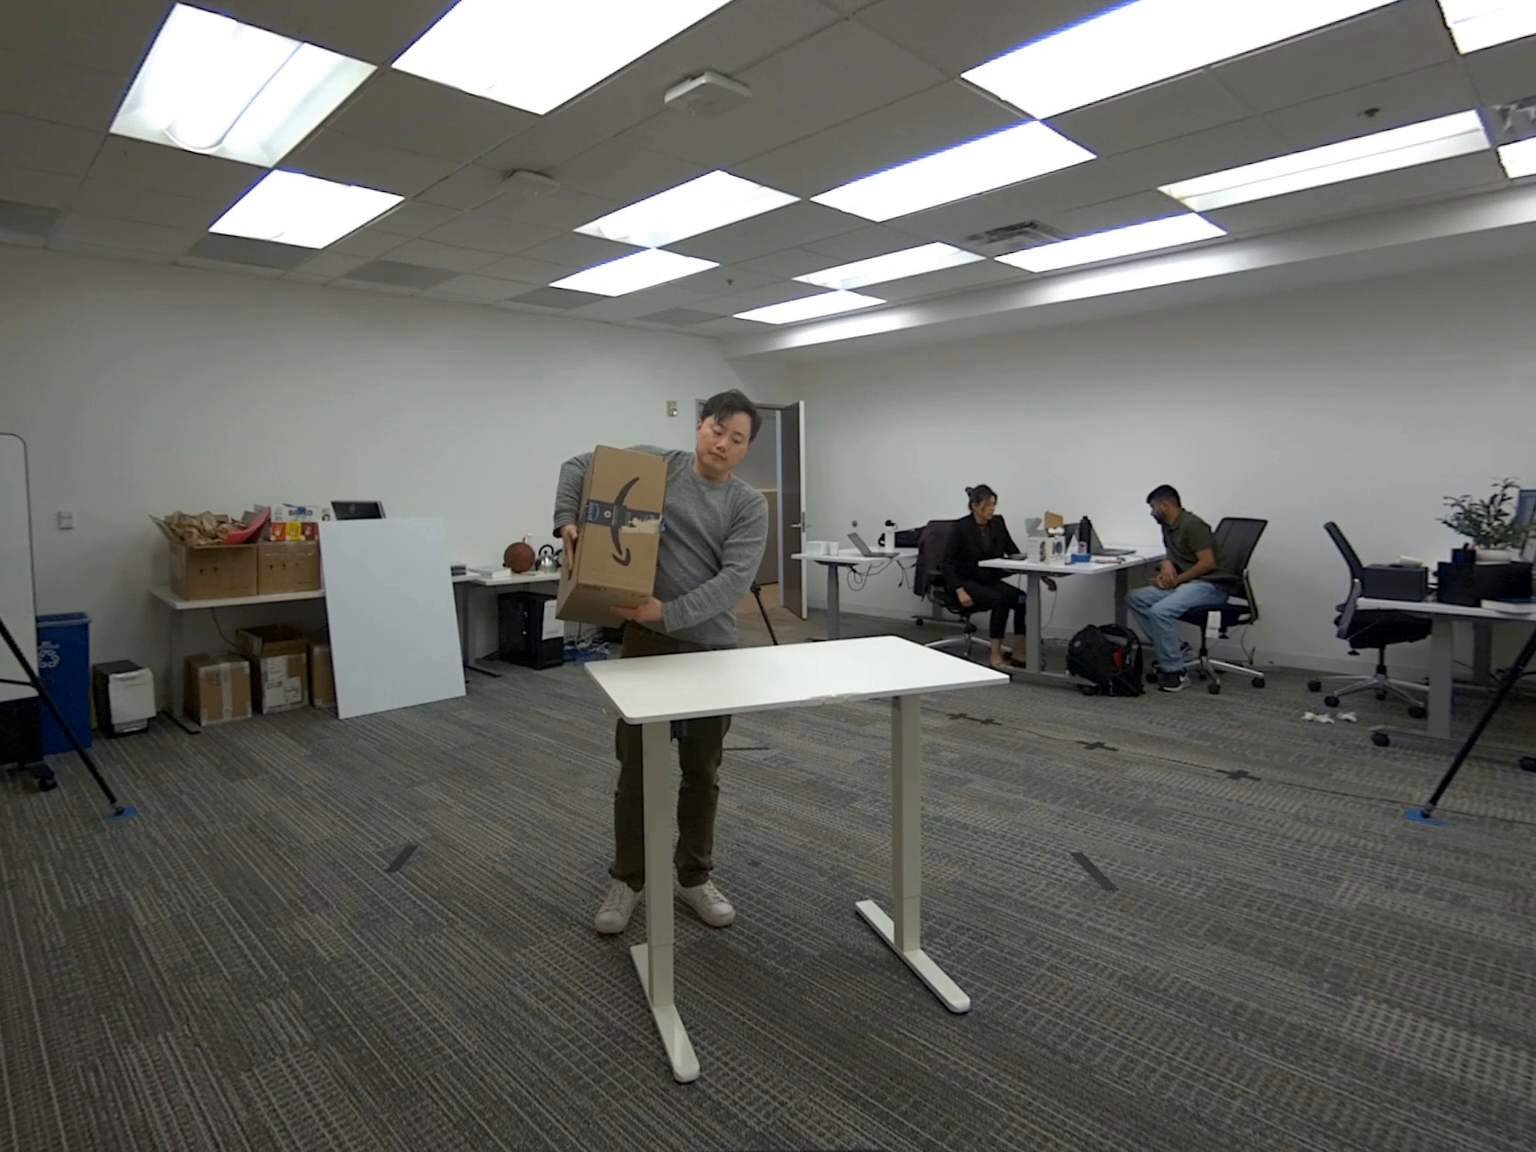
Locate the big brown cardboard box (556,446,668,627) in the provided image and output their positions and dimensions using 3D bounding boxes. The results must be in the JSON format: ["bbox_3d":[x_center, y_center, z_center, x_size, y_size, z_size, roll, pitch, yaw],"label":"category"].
[{"bbox_3d":[-0.507,-0.097,2.660,0.229,0.423,0.591,9,-16,-17],"label":"big brown cardboard box"}]
